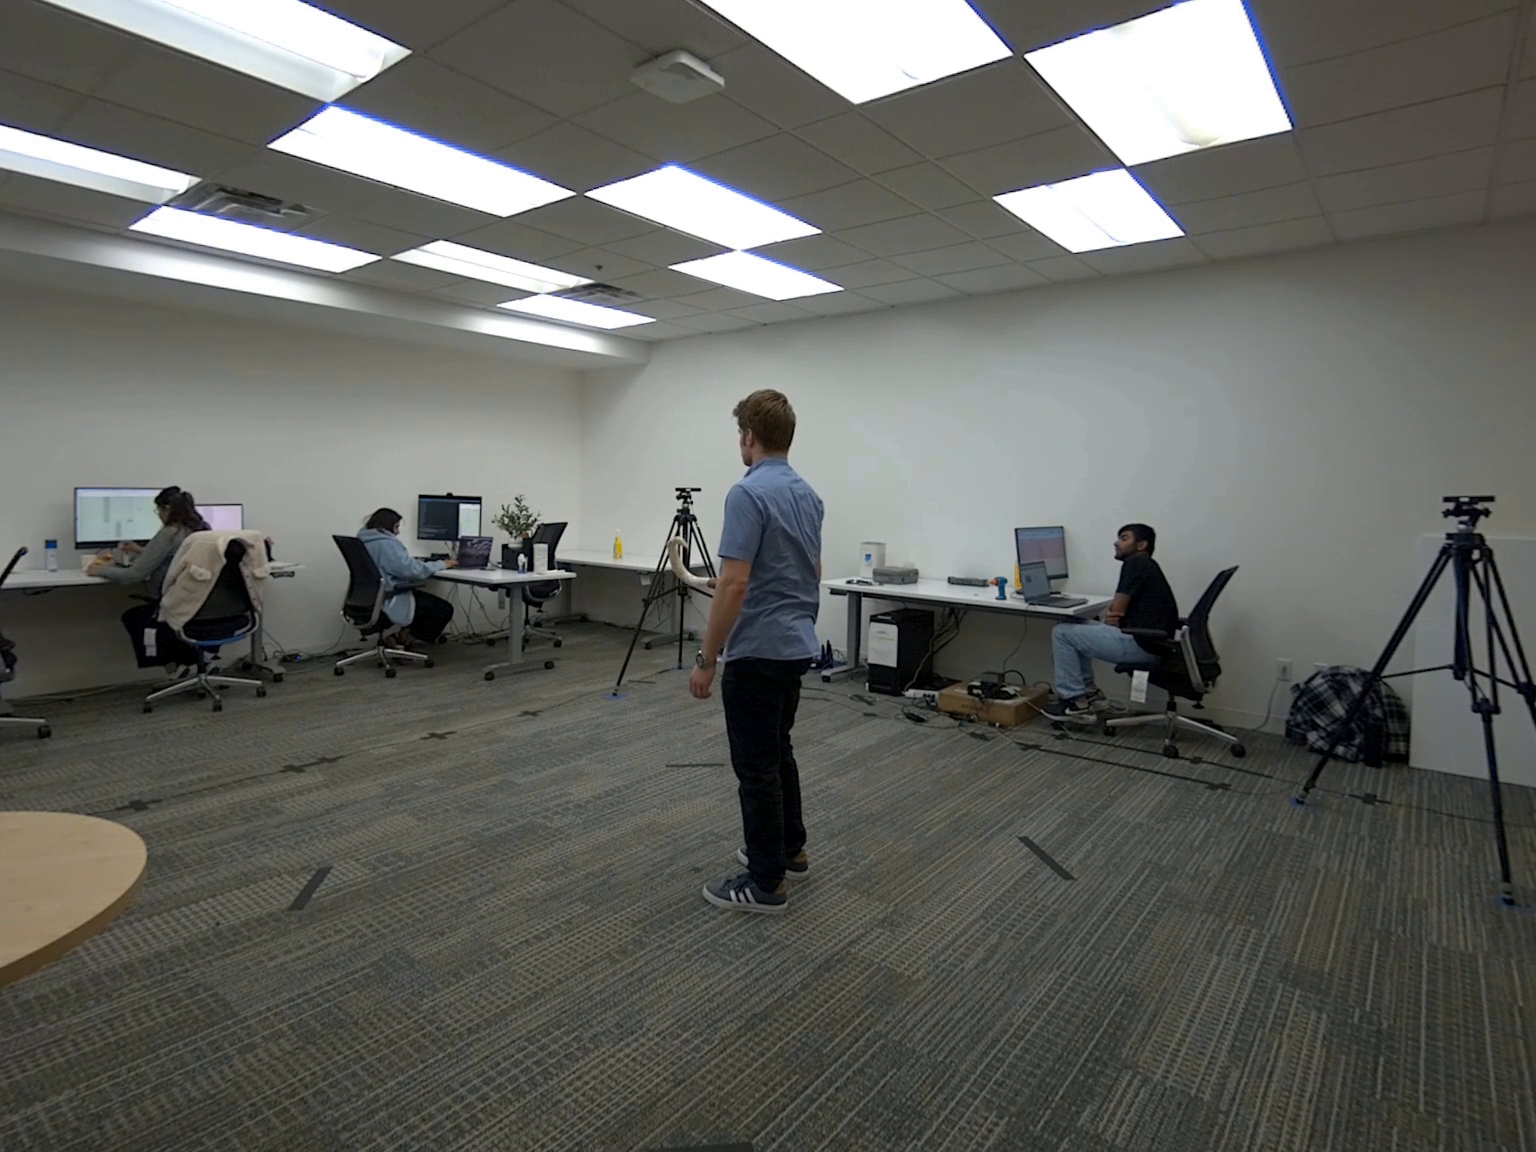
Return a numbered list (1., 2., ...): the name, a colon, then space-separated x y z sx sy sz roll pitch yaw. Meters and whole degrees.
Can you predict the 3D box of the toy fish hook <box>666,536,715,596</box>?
1. toy fish hook: -0.265 -0.033 3.344 0.048 0.218 0.526 -30 30 -26
